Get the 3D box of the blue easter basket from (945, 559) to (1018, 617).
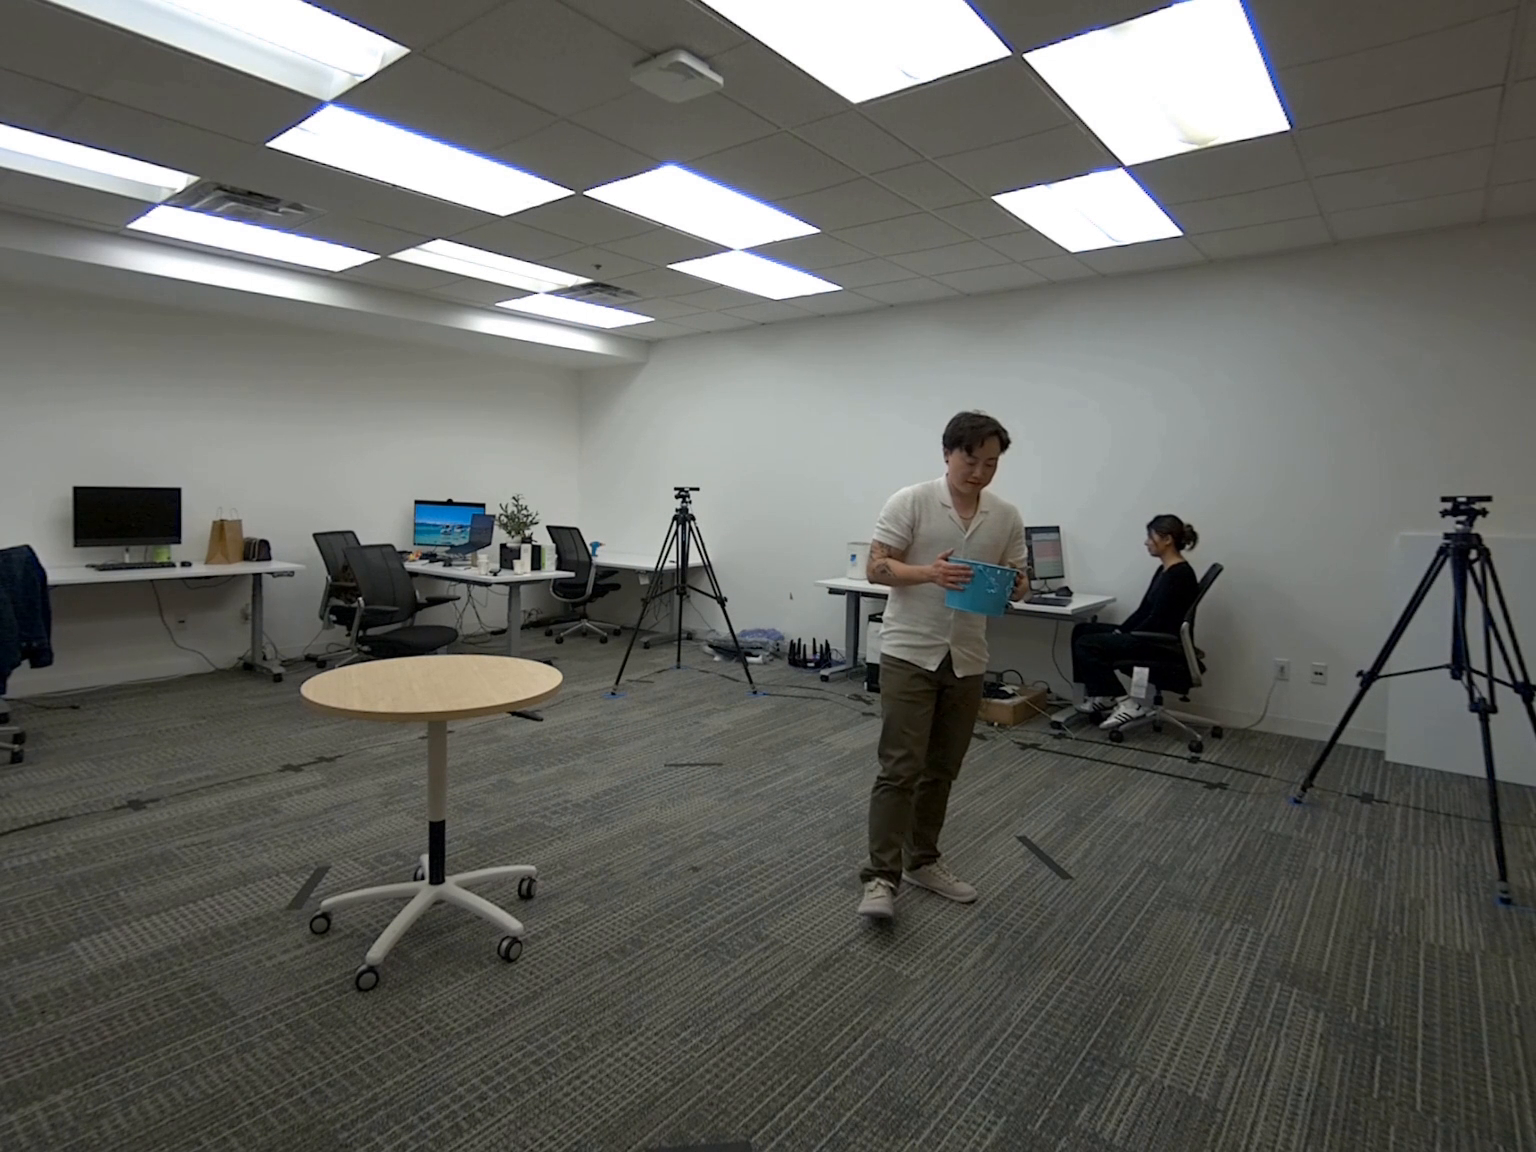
[{"bbox_3d":[0.678,0.032,2.691,0.243,0.155,0.244,8,3,-2],"label":"blue easter basket"}]
